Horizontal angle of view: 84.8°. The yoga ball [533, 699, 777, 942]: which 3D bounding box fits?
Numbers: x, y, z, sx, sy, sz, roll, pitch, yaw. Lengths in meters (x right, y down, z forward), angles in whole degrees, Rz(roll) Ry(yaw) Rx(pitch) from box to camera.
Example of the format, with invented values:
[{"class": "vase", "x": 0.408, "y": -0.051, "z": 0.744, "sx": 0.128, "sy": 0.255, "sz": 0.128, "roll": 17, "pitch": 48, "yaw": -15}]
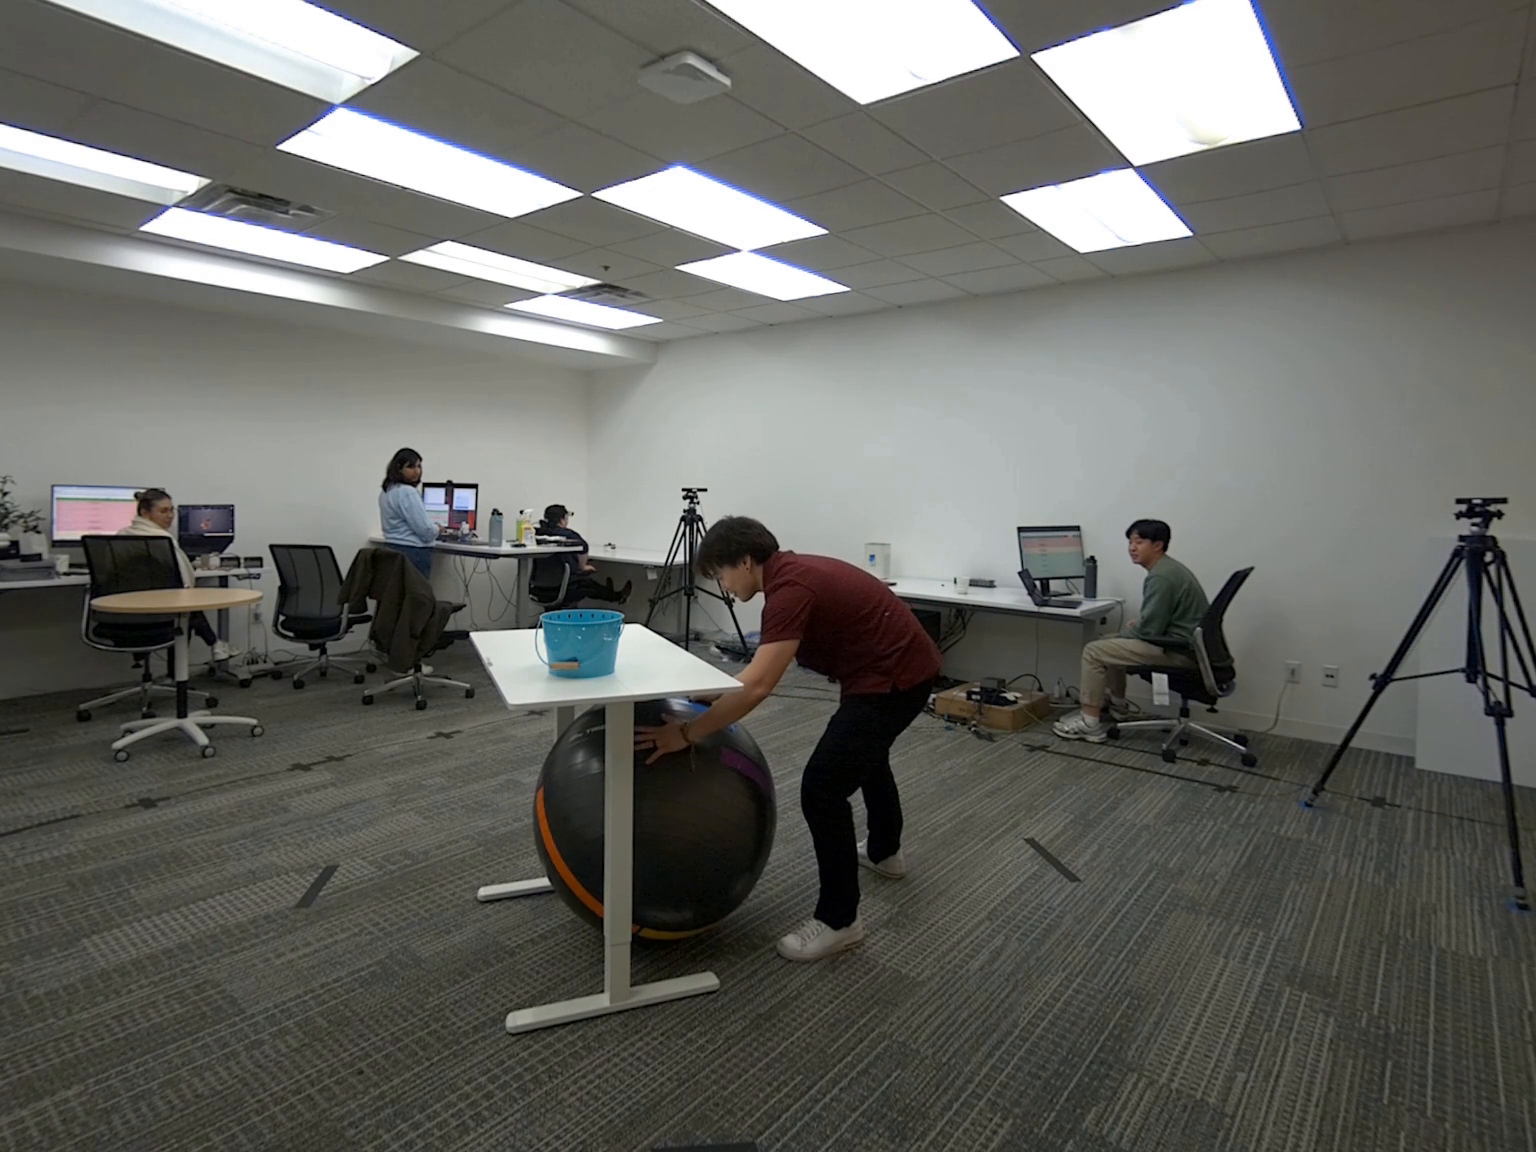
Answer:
[{"class": "yoga ball", "x": -0.368, "y": 0.747, "z": 2.682, "sx": 0.757, "sy": 0.756, "sz": 0.762, "roll": 1, "pitch": 4, "yaw": -2}]
